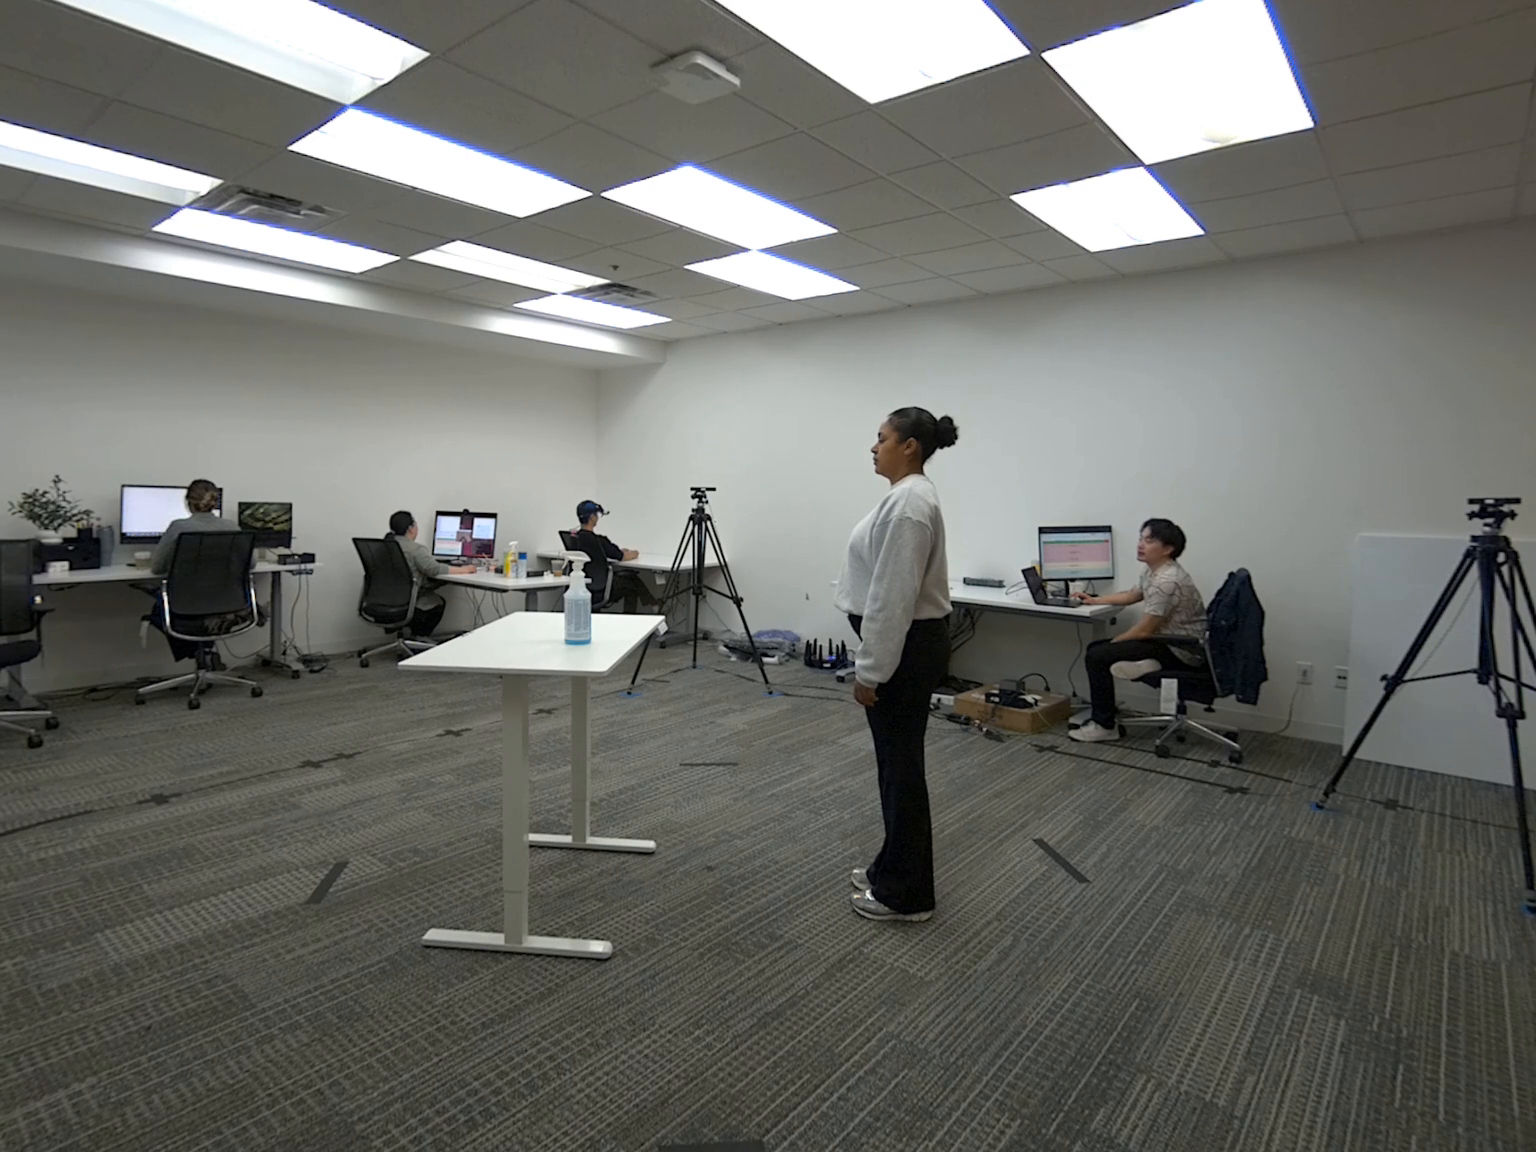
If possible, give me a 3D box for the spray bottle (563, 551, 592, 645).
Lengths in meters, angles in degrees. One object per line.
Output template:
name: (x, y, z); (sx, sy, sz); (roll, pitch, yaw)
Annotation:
spray bottle: (-0.626, 0.069, 2.744); (0.091, 0.296, 0.086); (0, 4, 7)
